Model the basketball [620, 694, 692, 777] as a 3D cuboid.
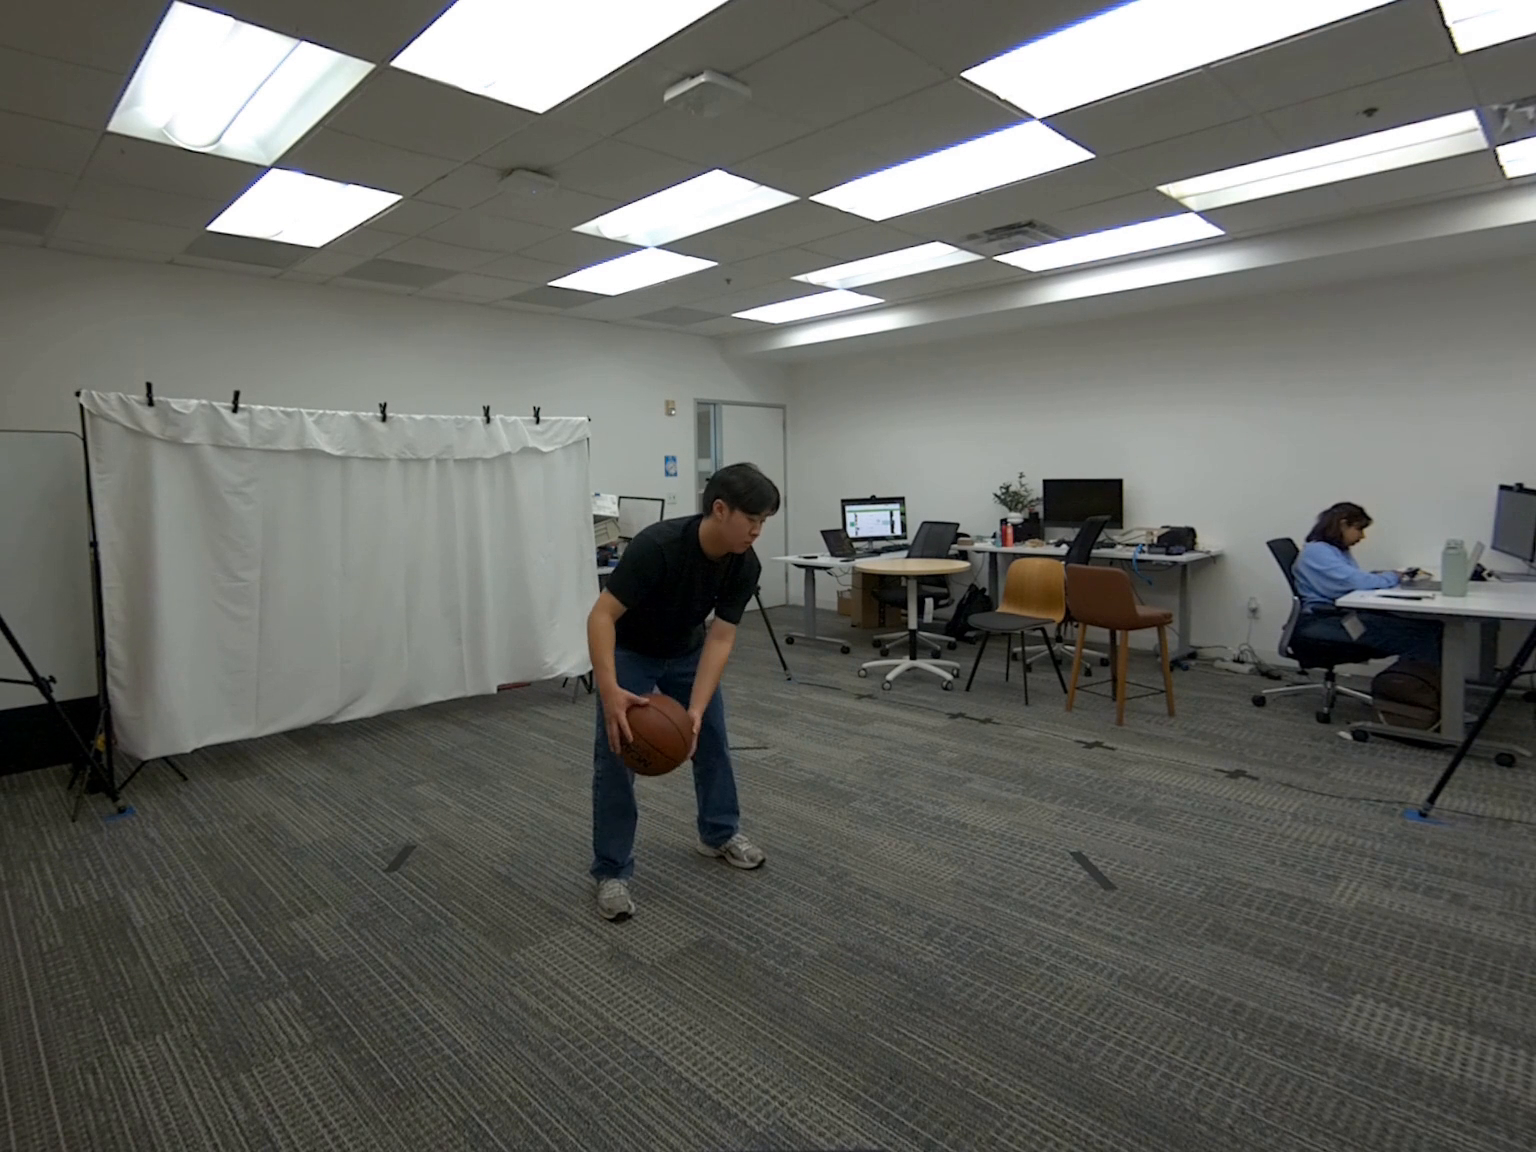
[{"bbox_3d":[-0.342,0.473,2.528,0.236,0.235,0.237,-1,5,-2],"label":"basketball"}]
